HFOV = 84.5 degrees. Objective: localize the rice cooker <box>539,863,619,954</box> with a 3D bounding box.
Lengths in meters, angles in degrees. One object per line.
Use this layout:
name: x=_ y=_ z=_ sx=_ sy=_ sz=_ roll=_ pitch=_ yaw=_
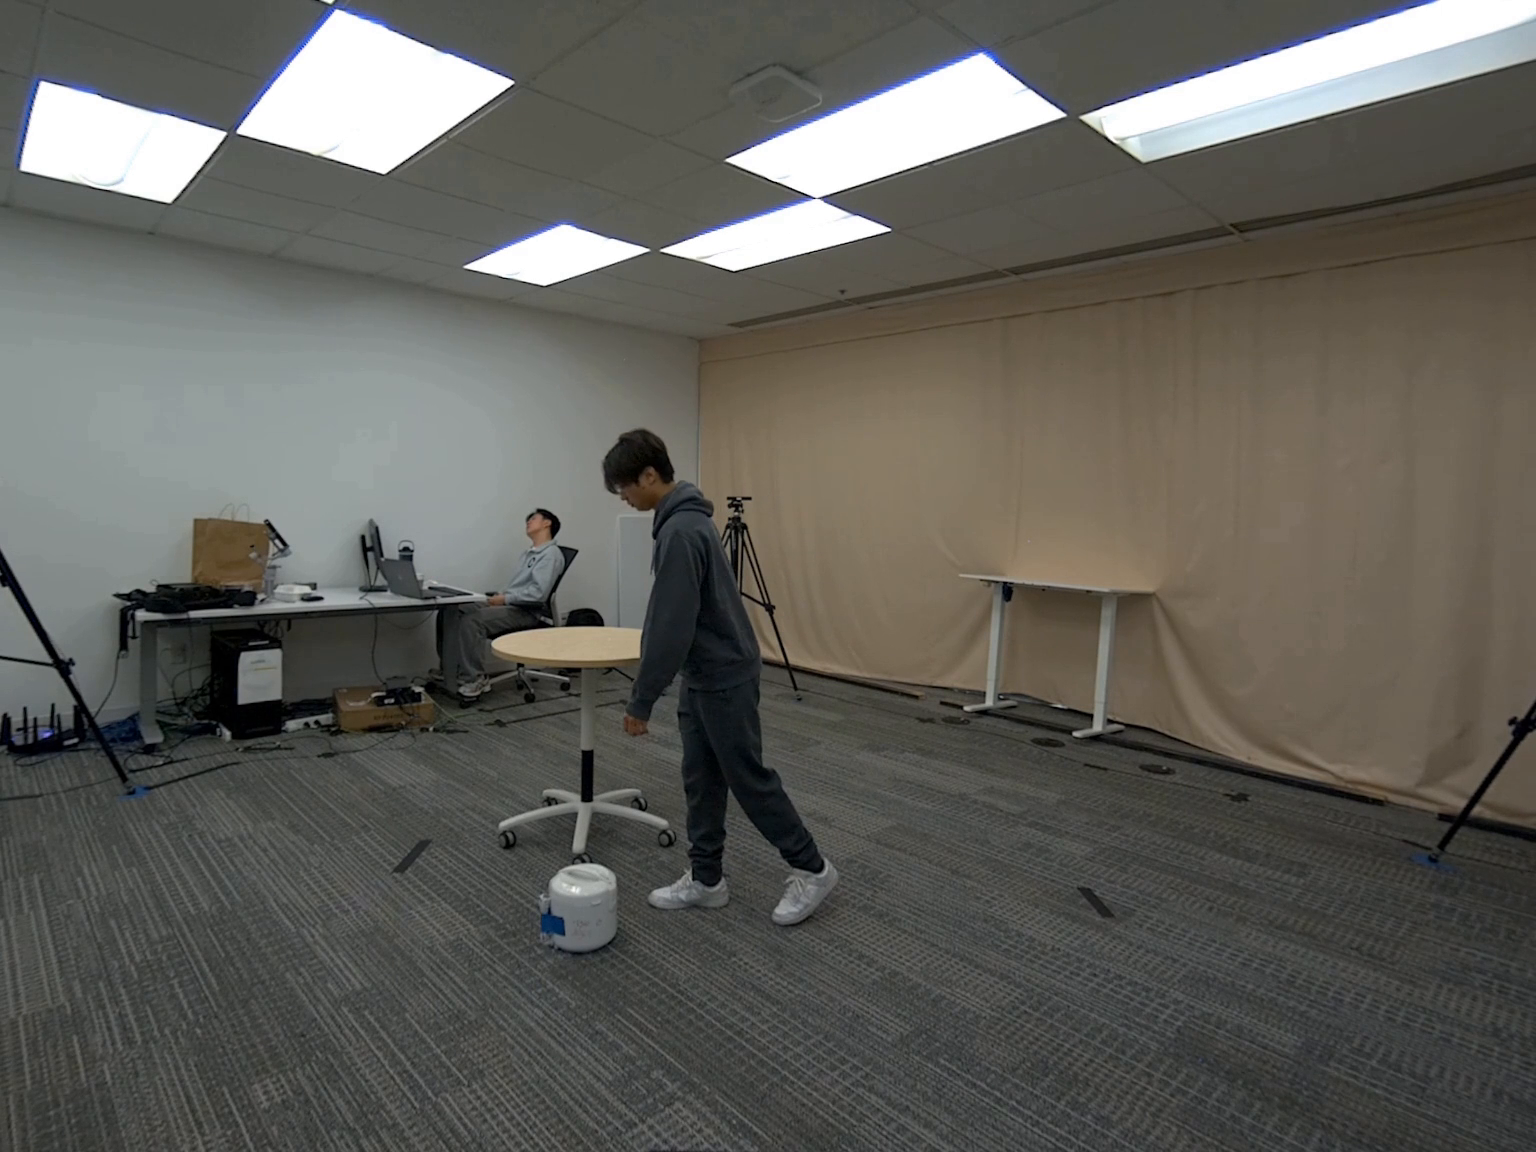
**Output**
rice cooker: x=-0.582 y=1.023 z=2.631 sx=0.224 sy=0.232 sz=0.215 roll=3 pitch=5 yaw=19
